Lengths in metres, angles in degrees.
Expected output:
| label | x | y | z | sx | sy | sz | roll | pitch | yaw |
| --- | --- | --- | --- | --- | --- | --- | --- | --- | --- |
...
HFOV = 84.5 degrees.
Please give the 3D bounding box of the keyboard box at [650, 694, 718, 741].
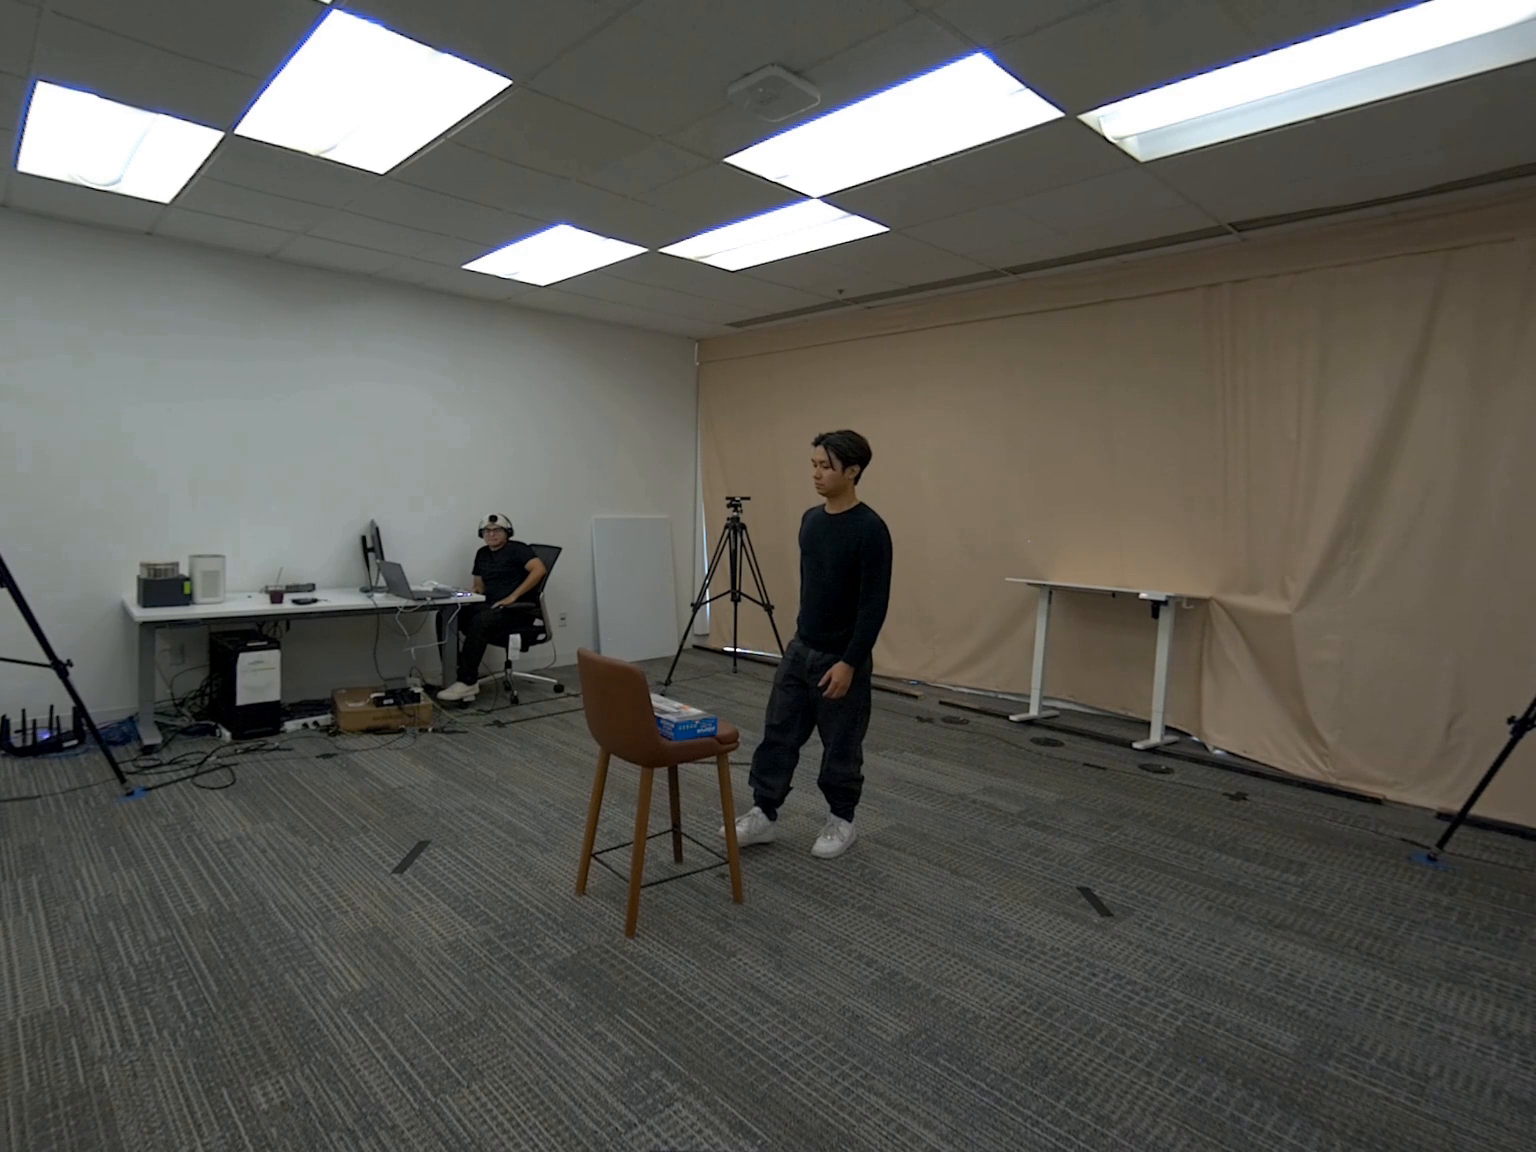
| label | x | y | z | sx | sy | sz | roll | pitch | yaw |
| --- | --- | --- | --- | --- | --- | --- | --- | --- | --- |
| keyboard box | -0.379 | 0.473 | 2.894 | 0.172 | 0.059 | 0.448 | 0 | 5 | -40 |
